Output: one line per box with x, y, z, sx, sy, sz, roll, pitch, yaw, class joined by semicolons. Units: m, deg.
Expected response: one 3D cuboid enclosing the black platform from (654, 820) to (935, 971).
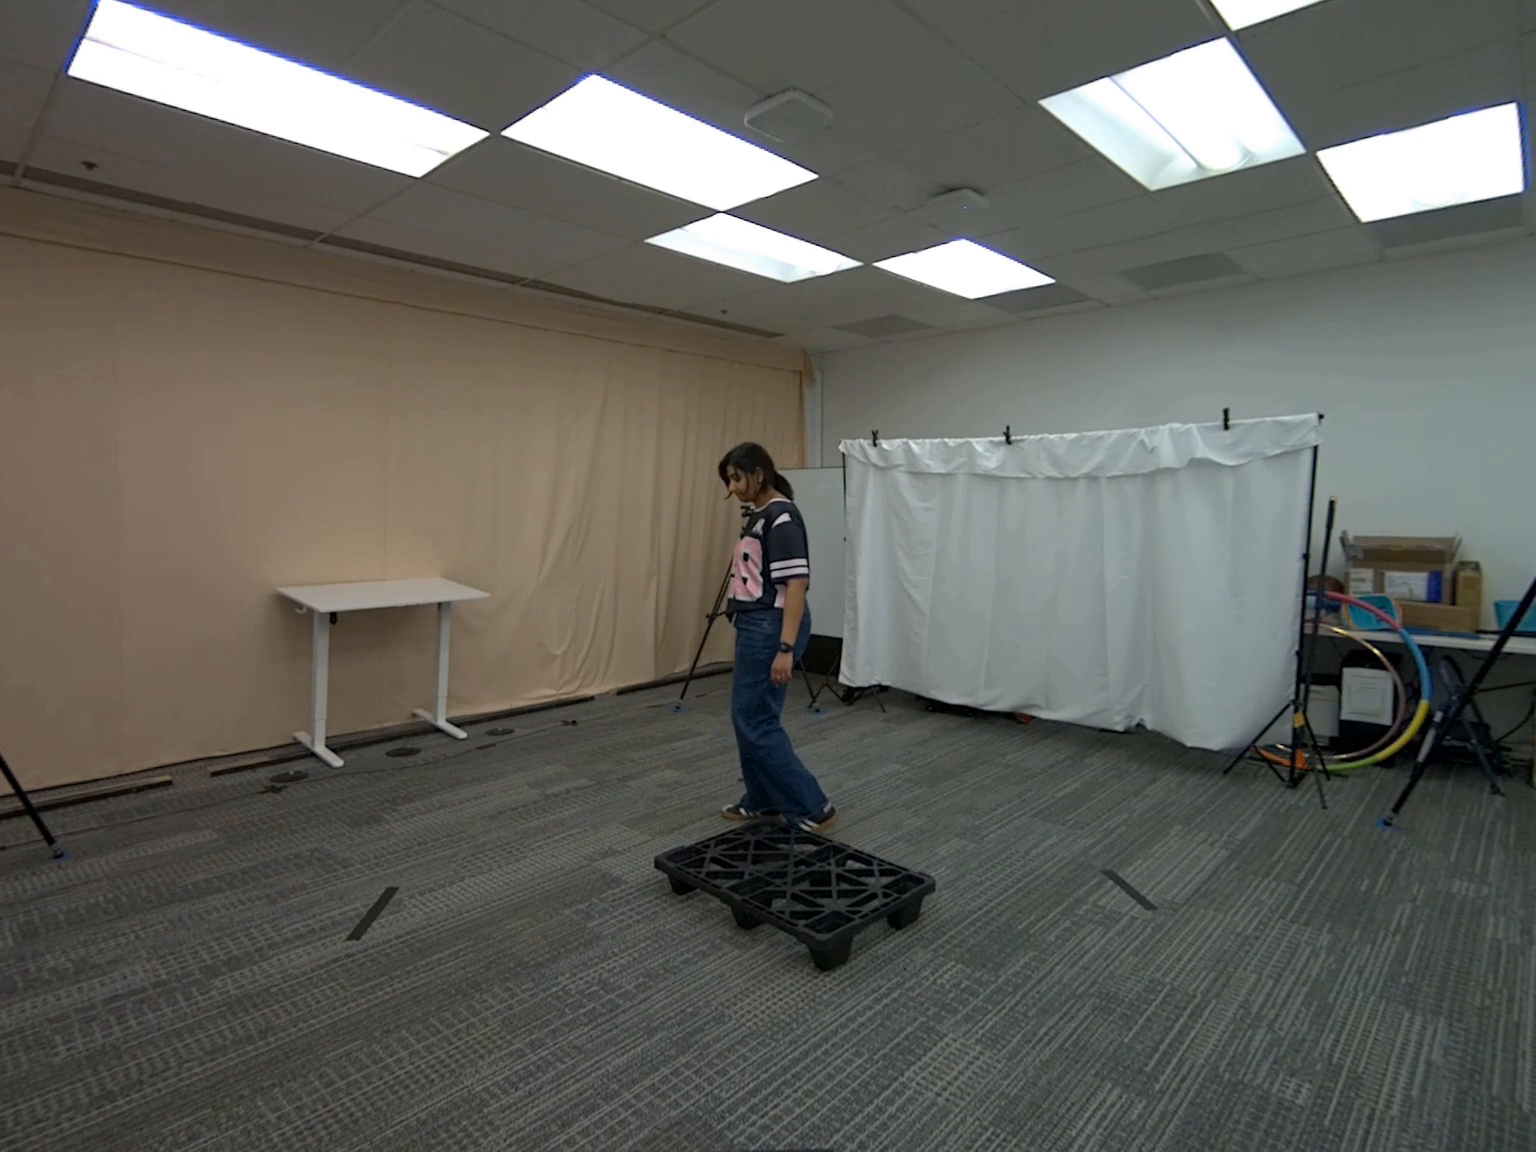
0.081;1.081;2.924;0.587;0.143;0.832;-6;7;-44;black platform
